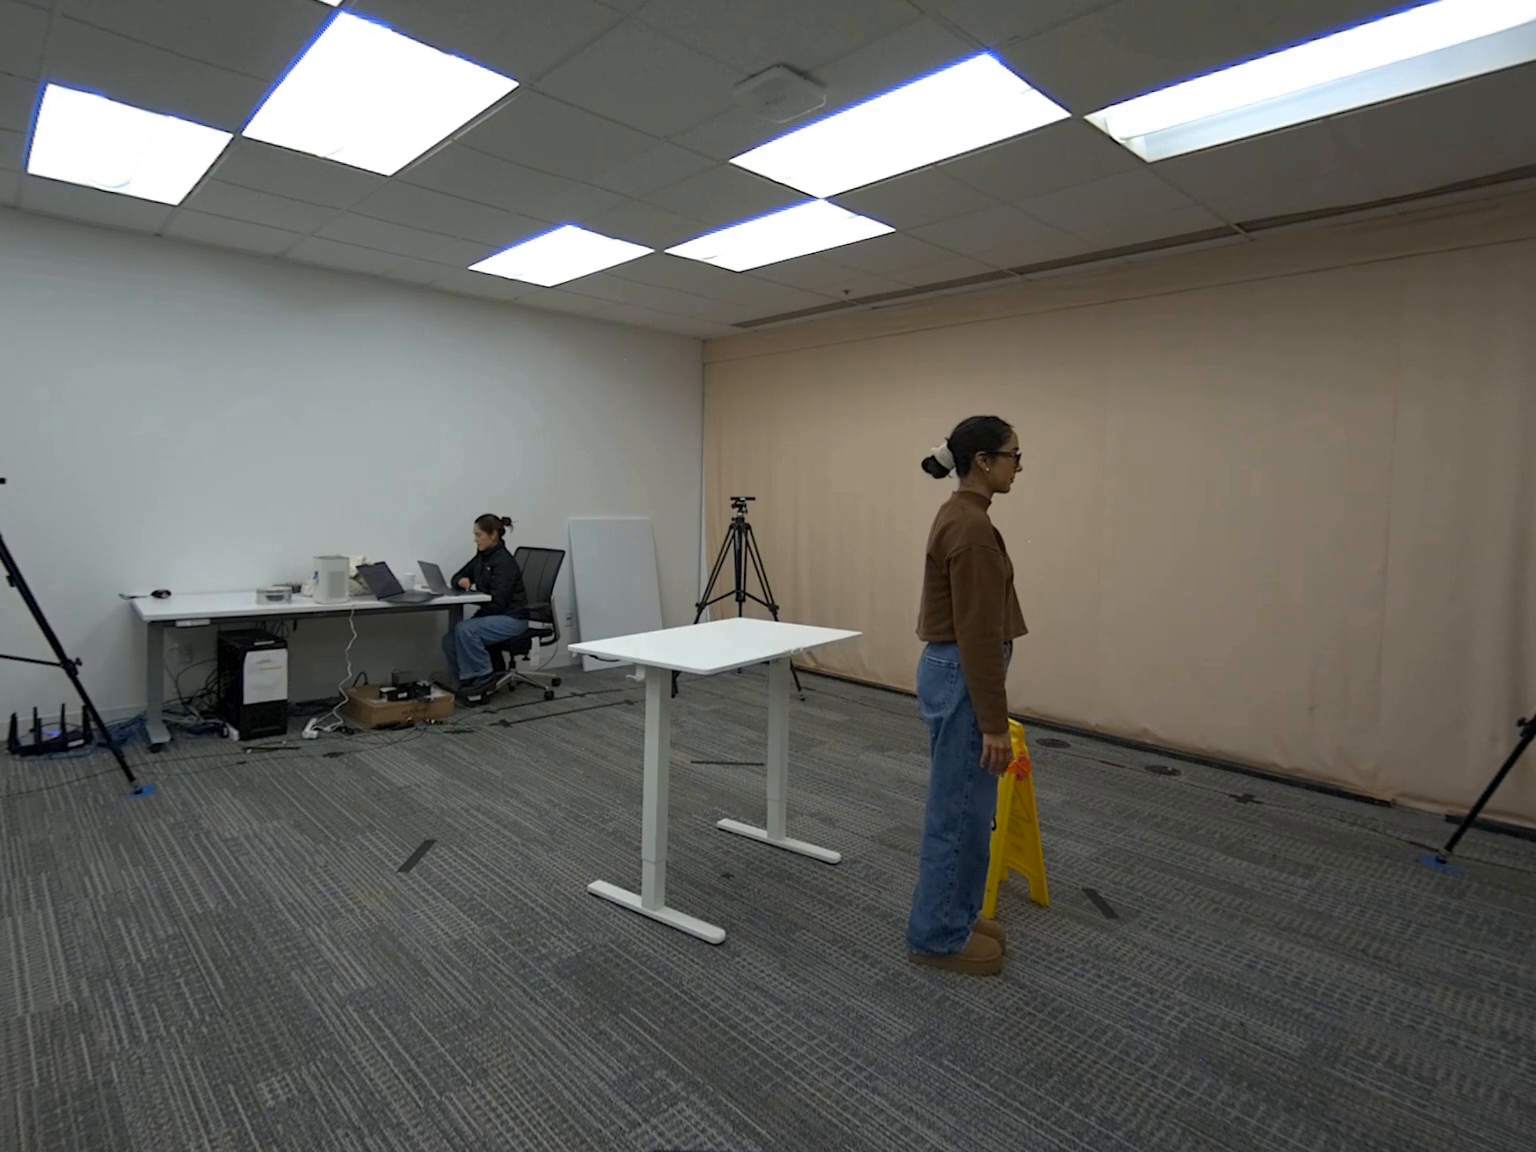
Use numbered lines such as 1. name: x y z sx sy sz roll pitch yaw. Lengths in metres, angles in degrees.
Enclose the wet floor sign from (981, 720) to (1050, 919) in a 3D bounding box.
1. wet floor sign: 0.796 0.817 2.984 0.284 0.645 0.288 0 2 -27
